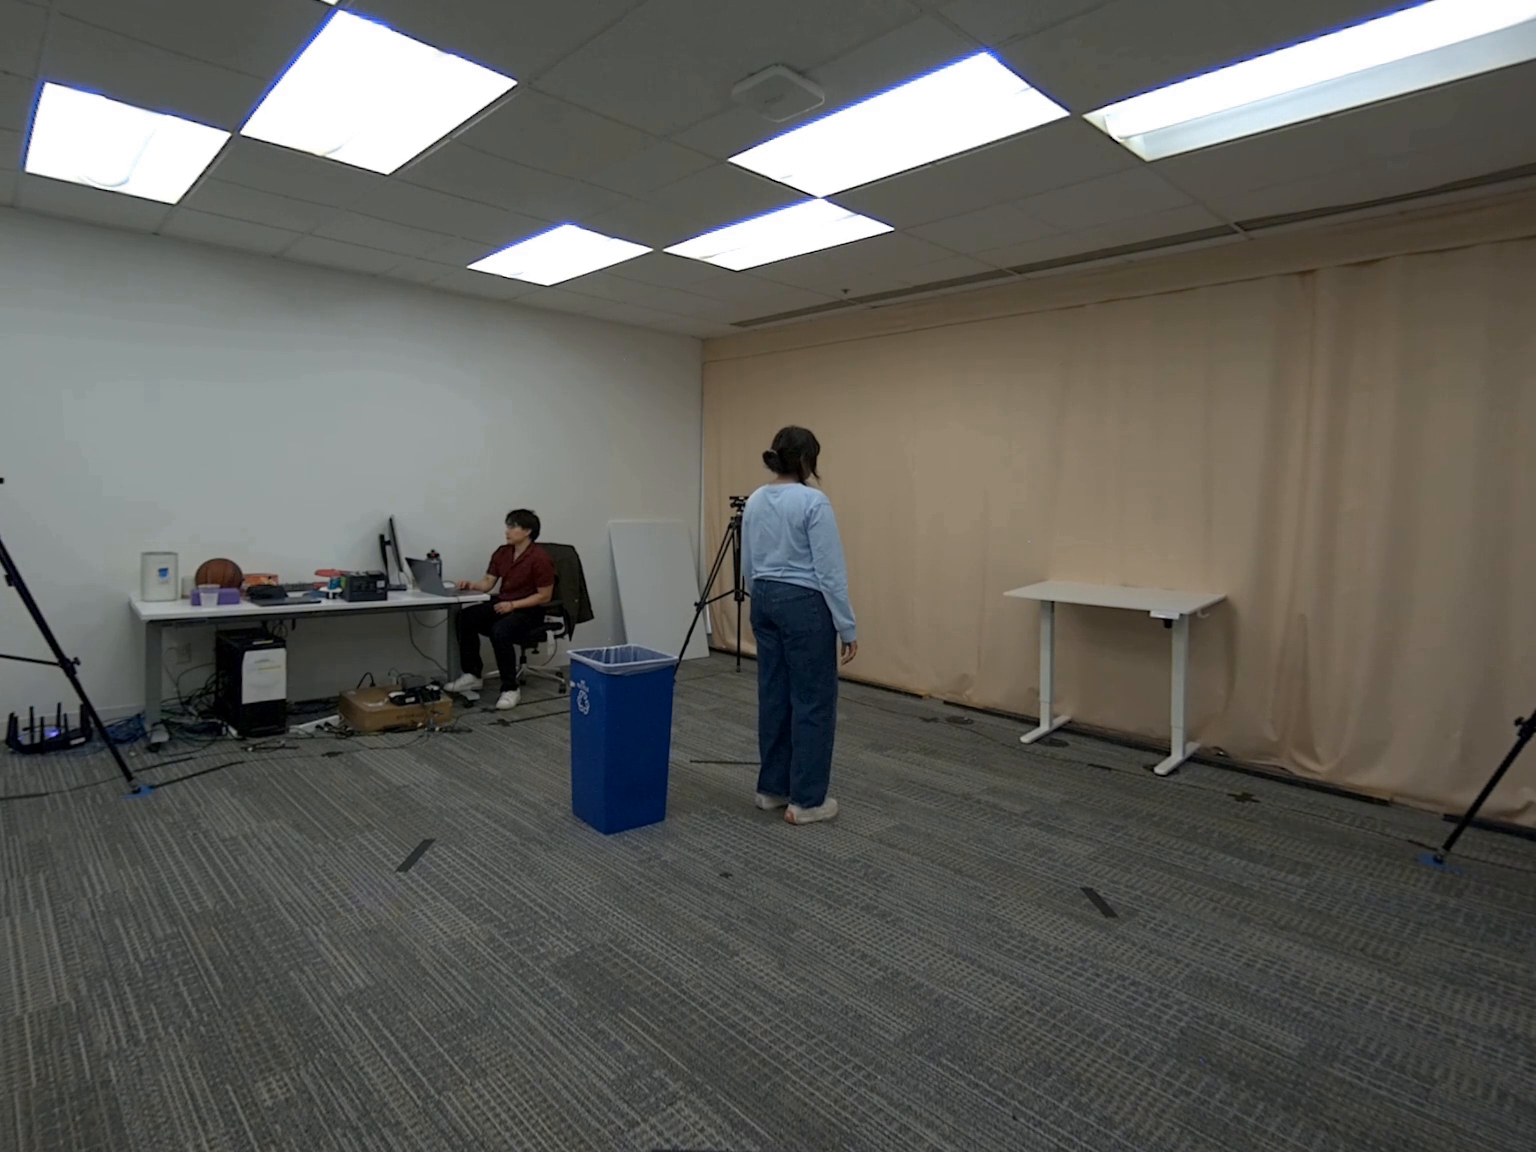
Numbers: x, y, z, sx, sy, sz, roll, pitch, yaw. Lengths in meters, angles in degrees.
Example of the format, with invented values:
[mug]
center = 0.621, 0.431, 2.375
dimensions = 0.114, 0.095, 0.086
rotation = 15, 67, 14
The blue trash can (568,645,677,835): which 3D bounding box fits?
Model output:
[blue trash can]
center = -0.639, 0.691, 3.623
dimensions = 0.369, 0.711, 0.383
rotation = -2, 5, -40
